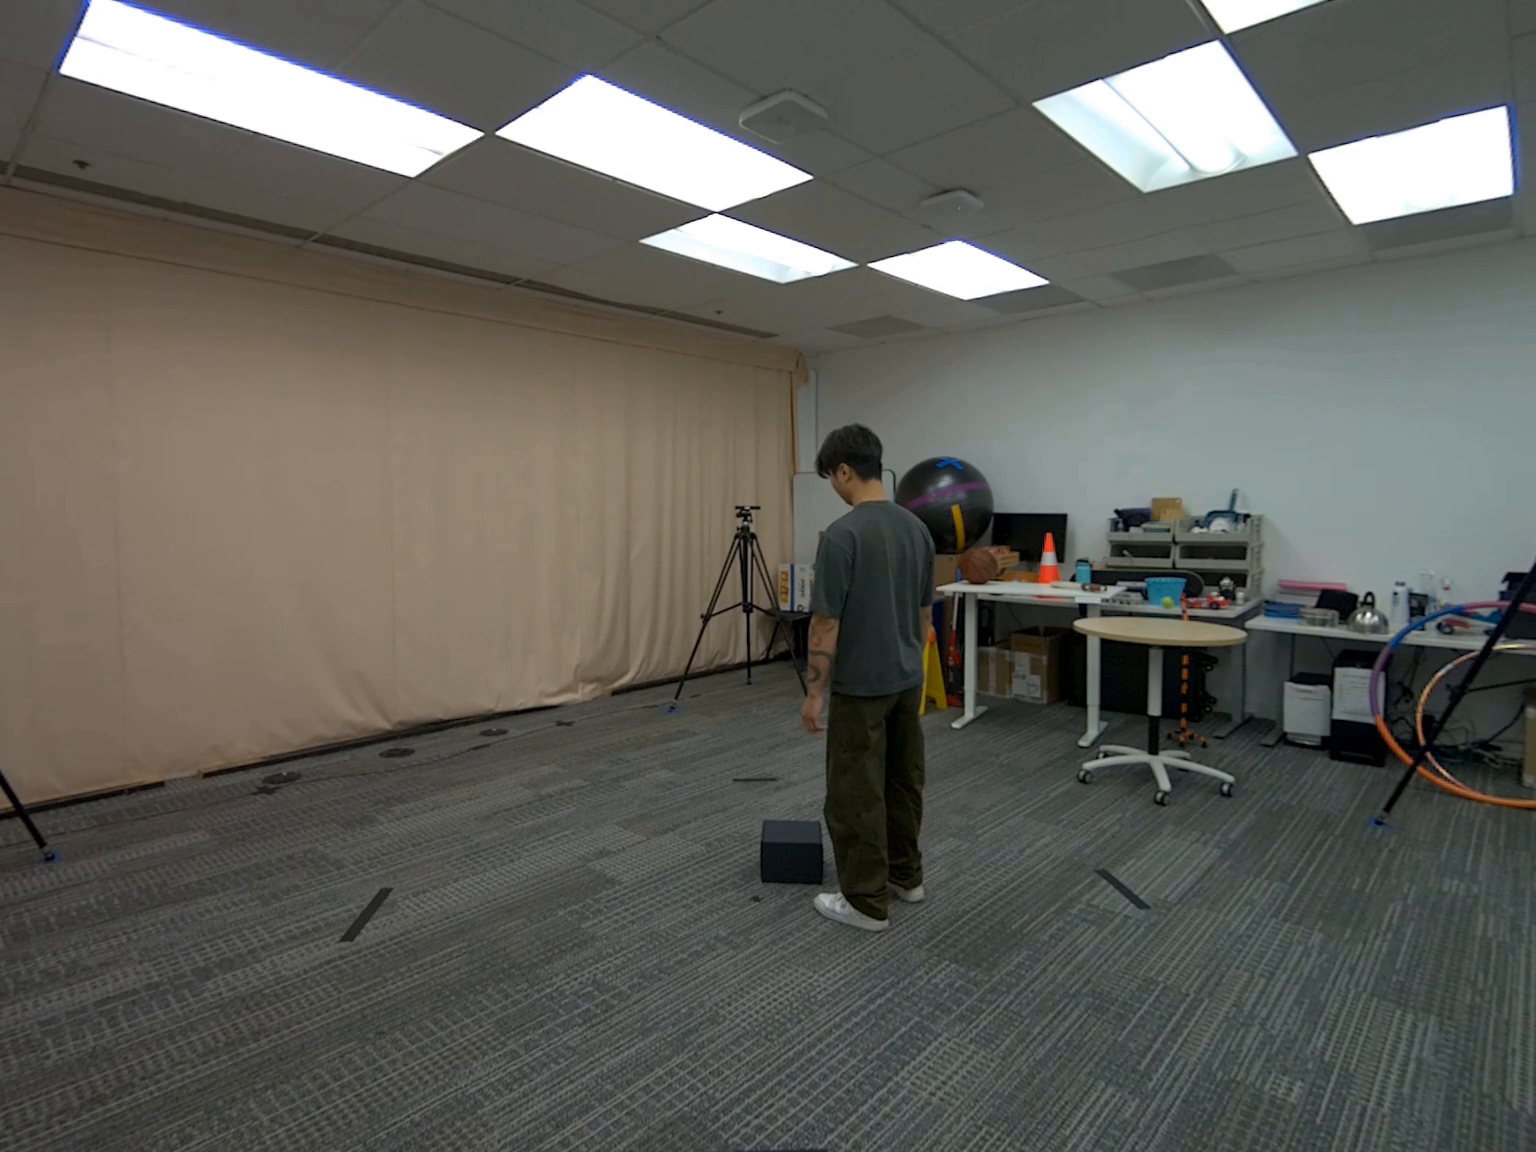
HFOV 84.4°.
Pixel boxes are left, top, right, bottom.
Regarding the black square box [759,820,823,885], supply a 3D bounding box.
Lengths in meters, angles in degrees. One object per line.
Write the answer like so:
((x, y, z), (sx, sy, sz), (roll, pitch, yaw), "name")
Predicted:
((0.091, 1.042, 3.200), (0.229, 0.155, 0.217), (0, 5, 3), "black square box")
